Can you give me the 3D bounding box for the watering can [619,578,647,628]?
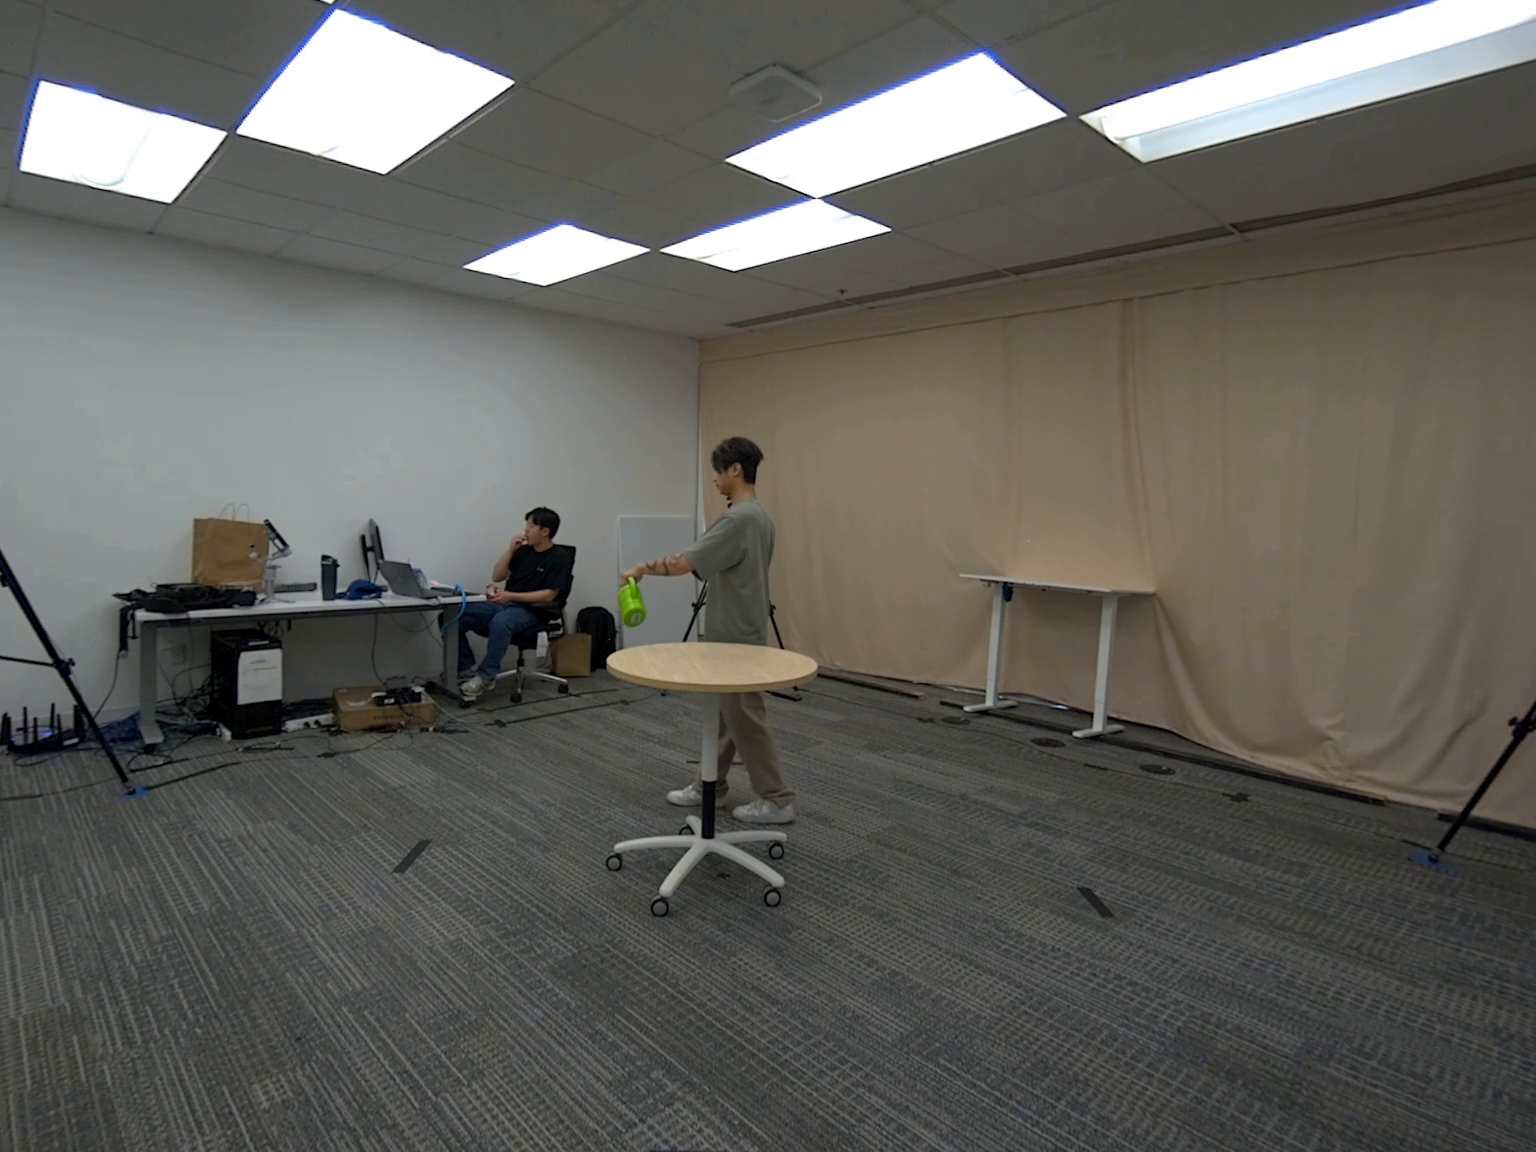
[{"bbox_3d":[-0.583,0.136,3.540,0.097,0.182,0.272,-10,-38,-12],"label":"watering can"}]
